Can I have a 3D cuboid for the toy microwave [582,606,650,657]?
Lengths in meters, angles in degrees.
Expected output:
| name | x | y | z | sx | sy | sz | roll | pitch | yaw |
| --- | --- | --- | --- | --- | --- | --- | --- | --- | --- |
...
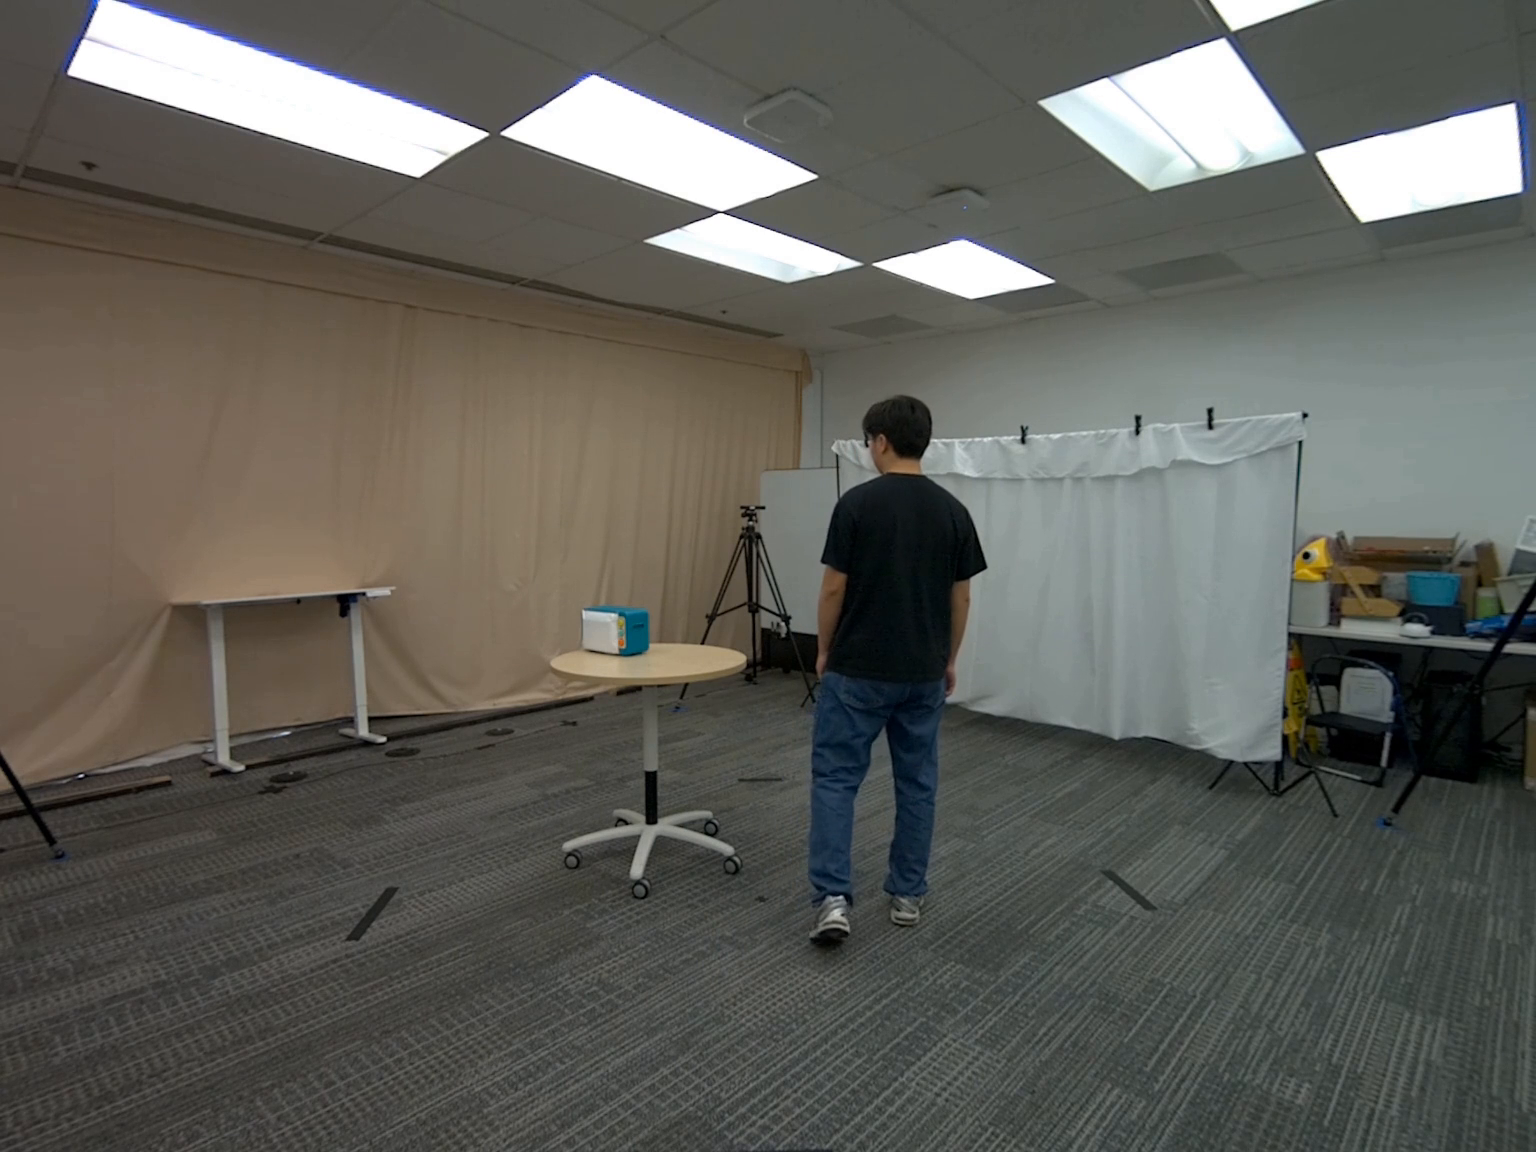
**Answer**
| name | x | y | z | sx | sy | sz | roll | pitch | yaw |
| --- | --- | --- | --- | --- | --- | --- | --- | --- | --- |
| toy microwave | -0.639 | 0.223 | 3.466 | 0.295 | 0.184 | 0.148 | 2 | 4 | 38 |
